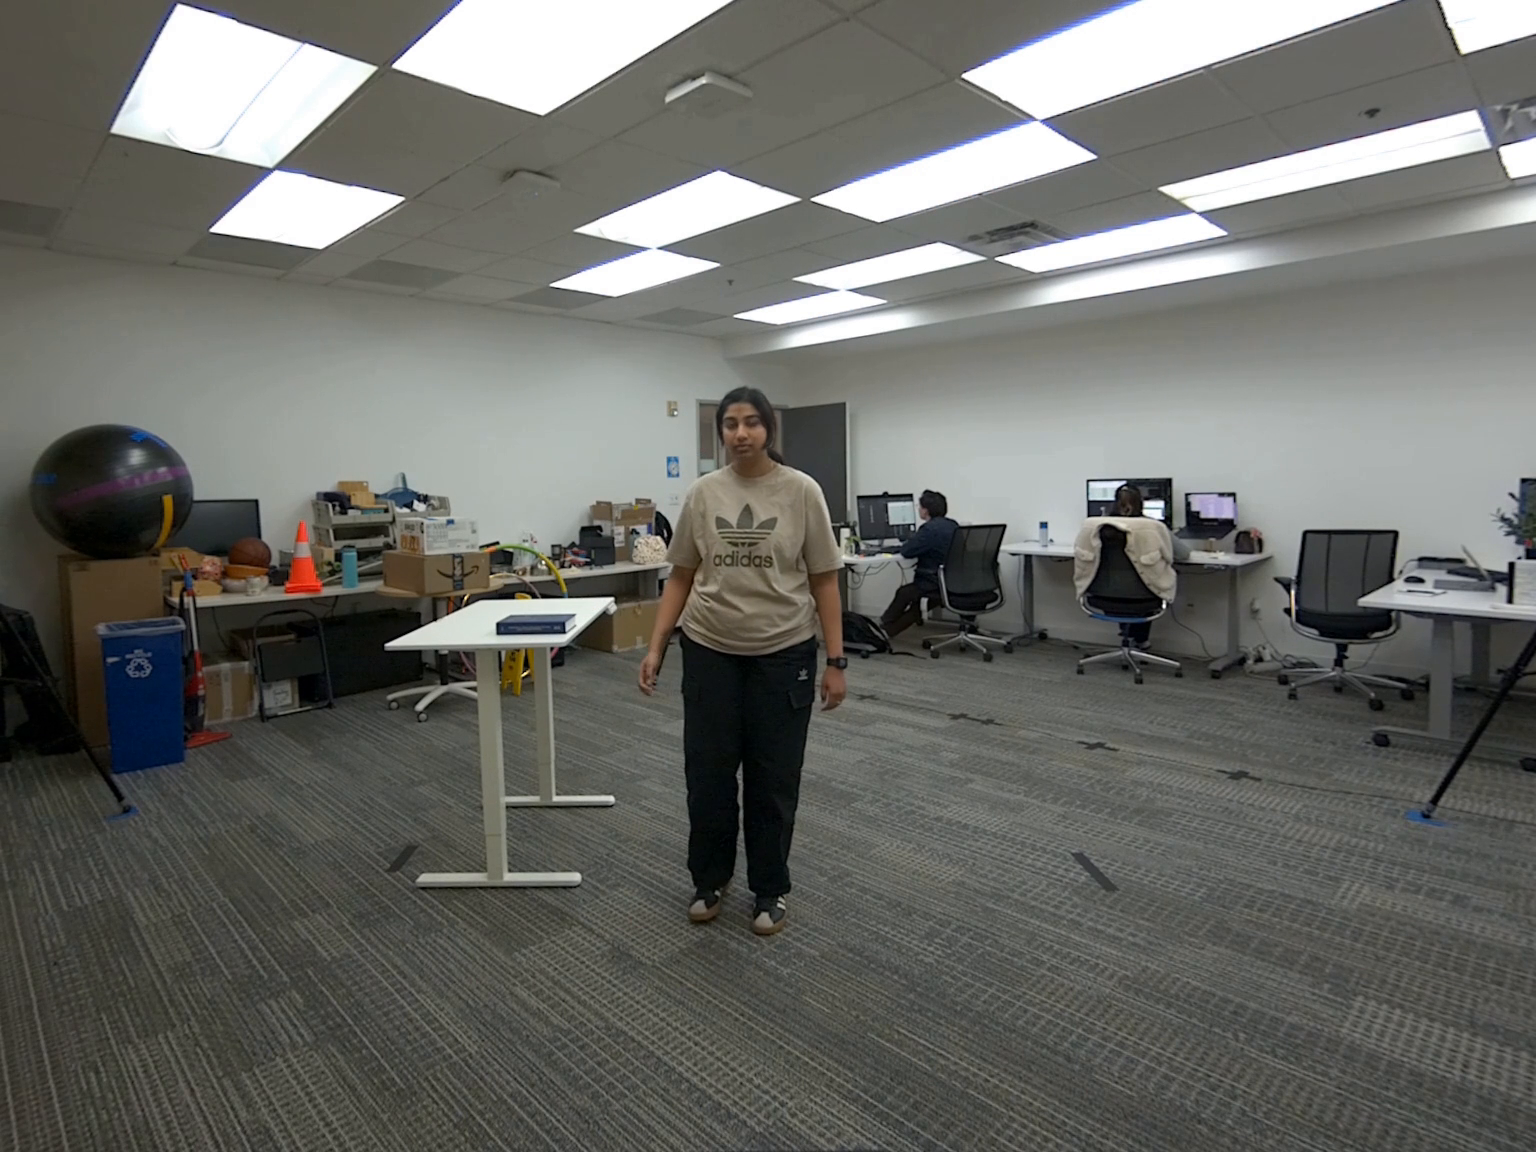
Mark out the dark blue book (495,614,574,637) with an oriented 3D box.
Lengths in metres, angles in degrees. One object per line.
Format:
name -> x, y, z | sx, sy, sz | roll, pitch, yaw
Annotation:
dark blue book -> -0.828, 0.170, 2.995 | 0.246, 0.045, 0.163 | -1, 6, 3
